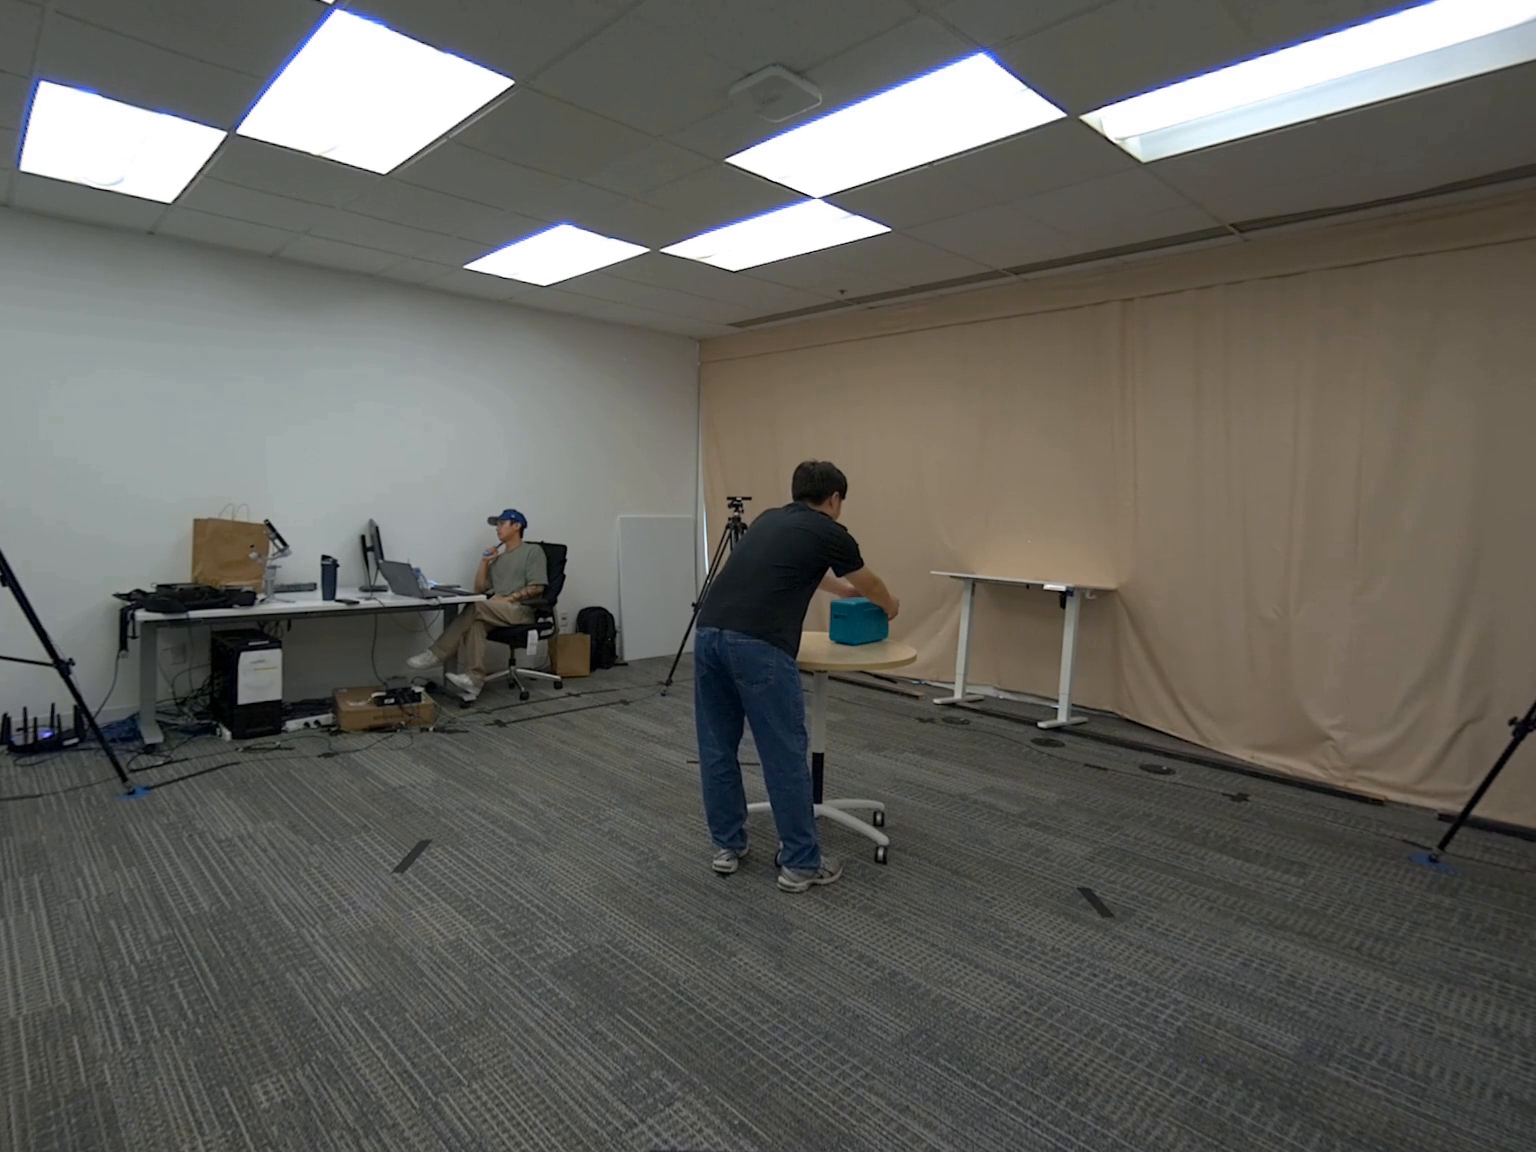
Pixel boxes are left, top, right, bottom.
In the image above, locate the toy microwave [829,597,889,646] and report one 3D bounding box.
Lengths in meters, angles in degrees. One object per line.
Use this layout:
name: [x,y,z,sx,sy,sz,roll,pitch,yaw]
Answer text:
toy microwave: [0.384,0.191,3.618,0.156,0.183,0.280,5,6,40]
